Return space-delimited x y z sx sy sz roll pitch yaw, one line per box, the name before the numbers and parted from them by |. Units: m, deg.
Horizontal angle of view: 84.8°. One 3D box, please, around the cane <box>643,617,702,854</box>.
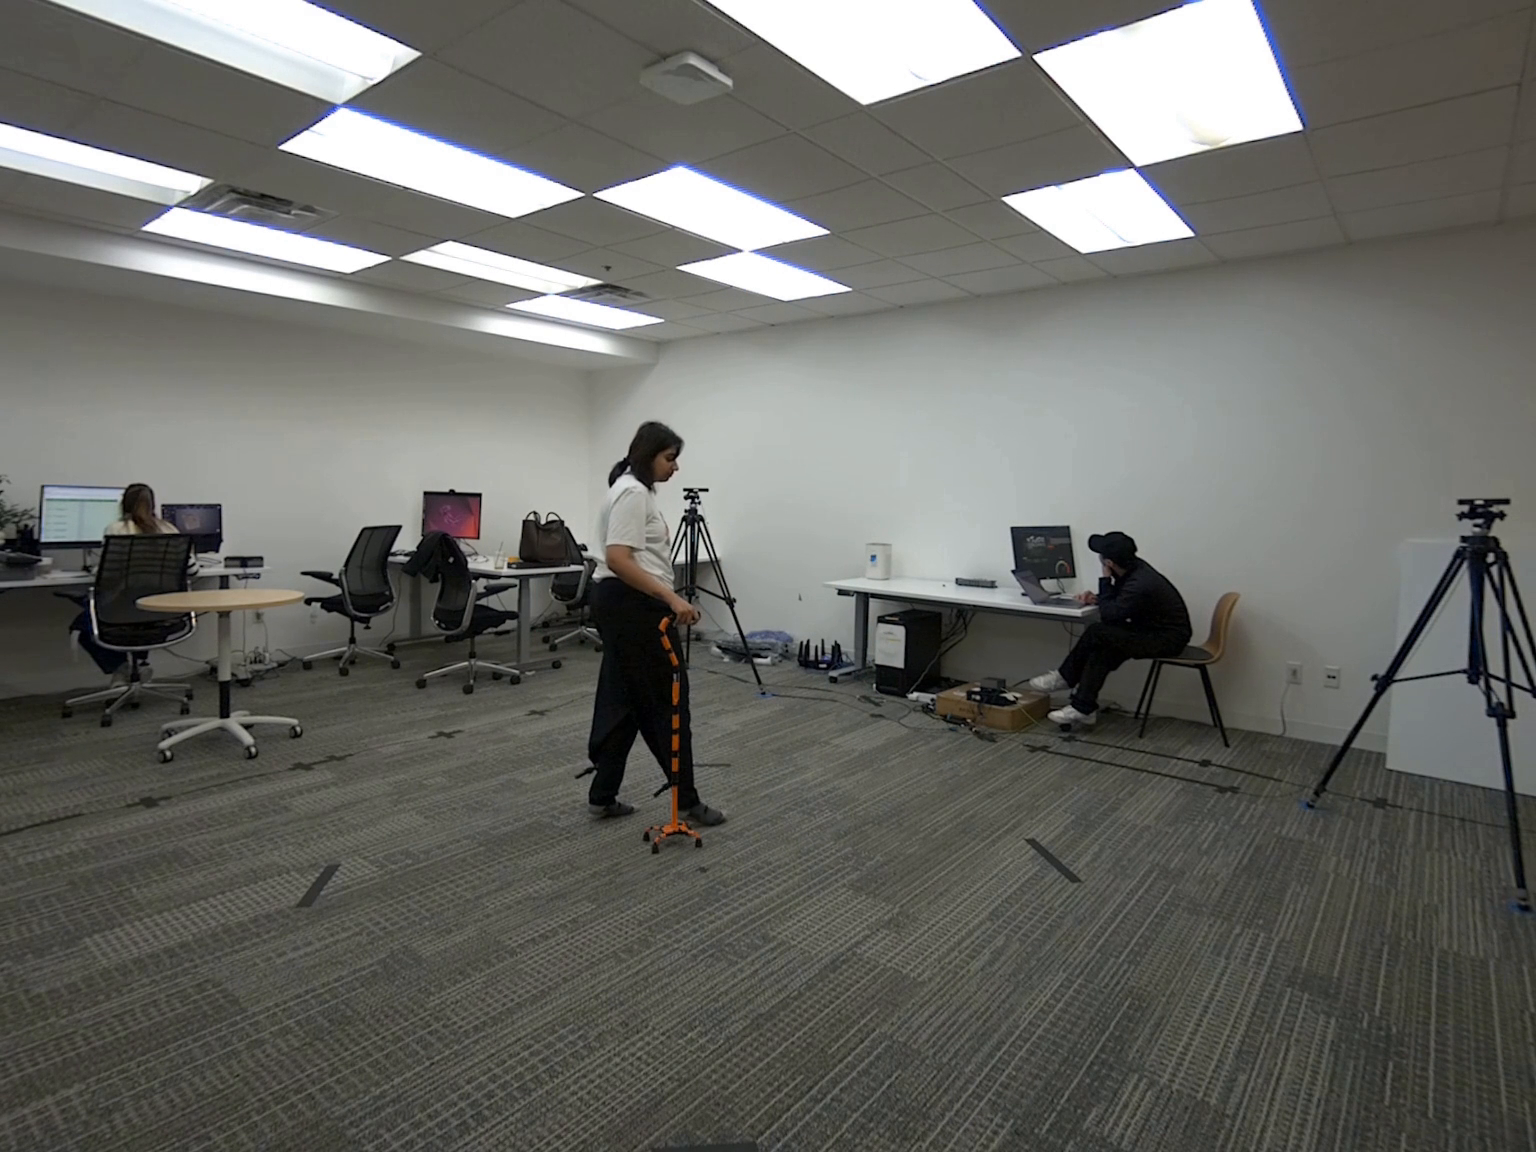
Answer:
cane | -0.372 0.593 3.311 0.202 0.905 0.155 1 3 -22
